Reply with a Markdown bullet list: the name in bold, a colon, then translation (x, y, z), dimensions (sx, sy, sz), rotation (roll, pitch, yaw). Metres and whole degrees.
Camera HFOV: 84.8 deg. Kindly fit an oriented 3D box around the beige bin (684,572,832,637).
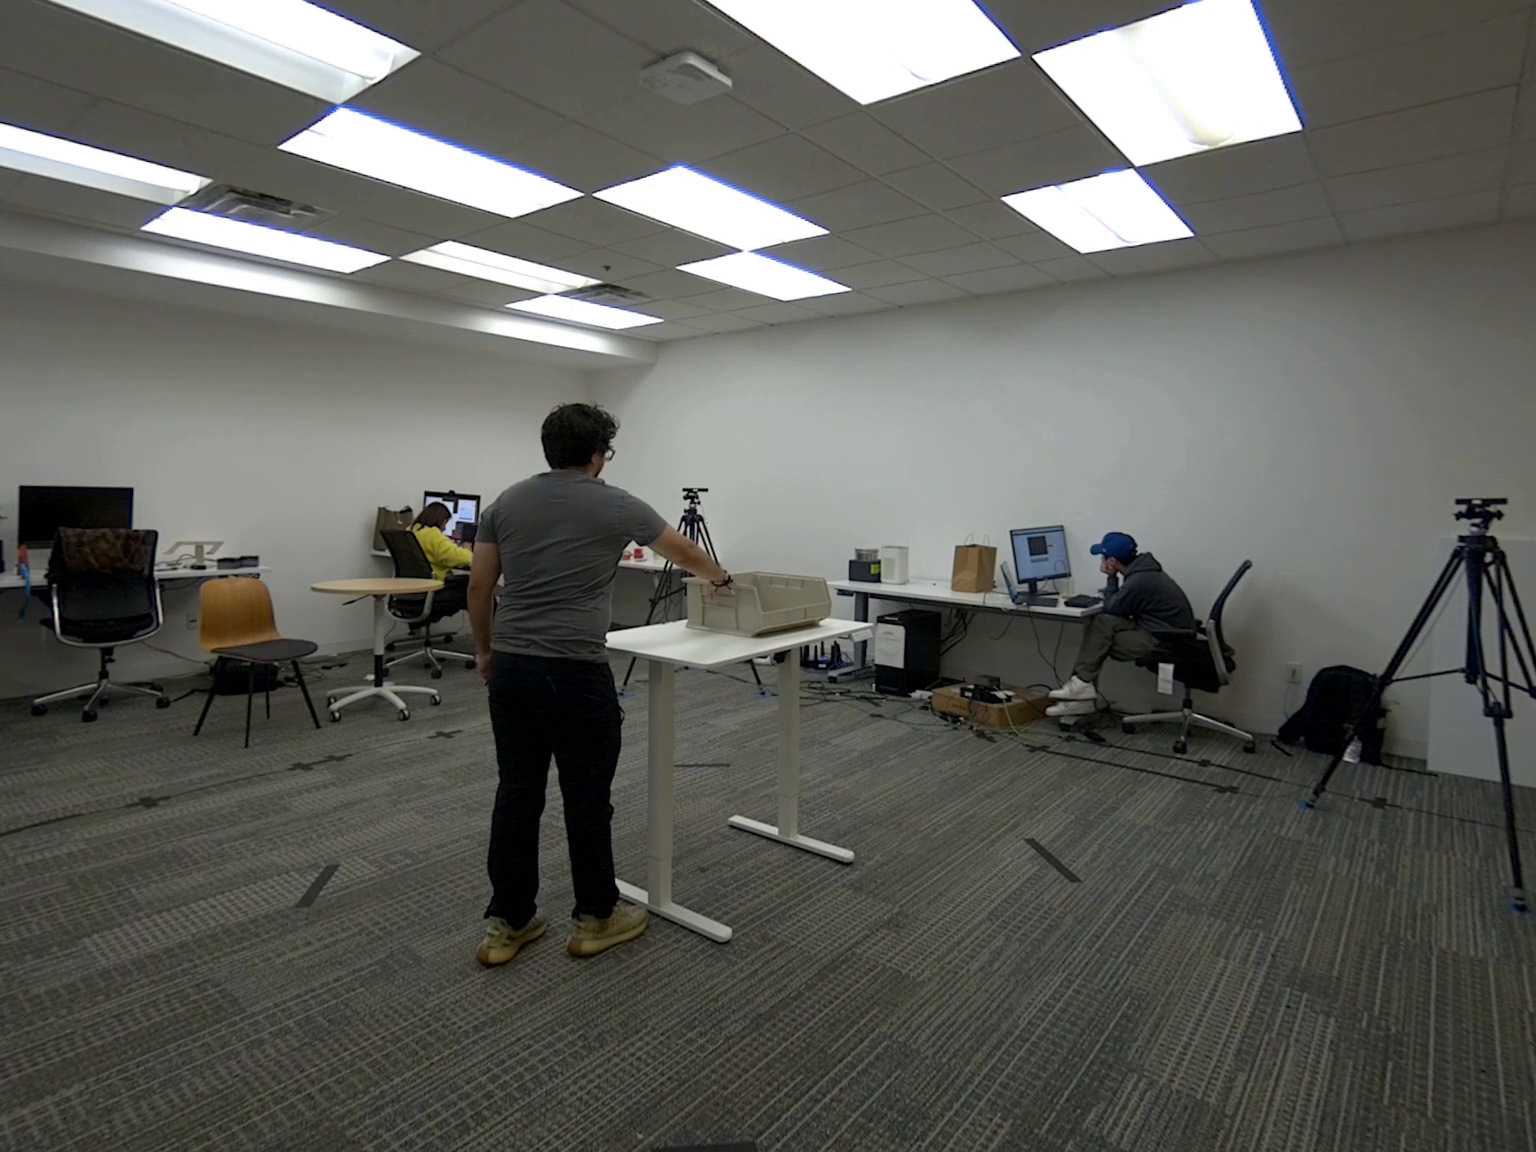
- **beige bin**: translation (-0.045, 0.097, 3.141), dimensions (0.390, 0.188, 0.410), rotation (3, 6, 41)
